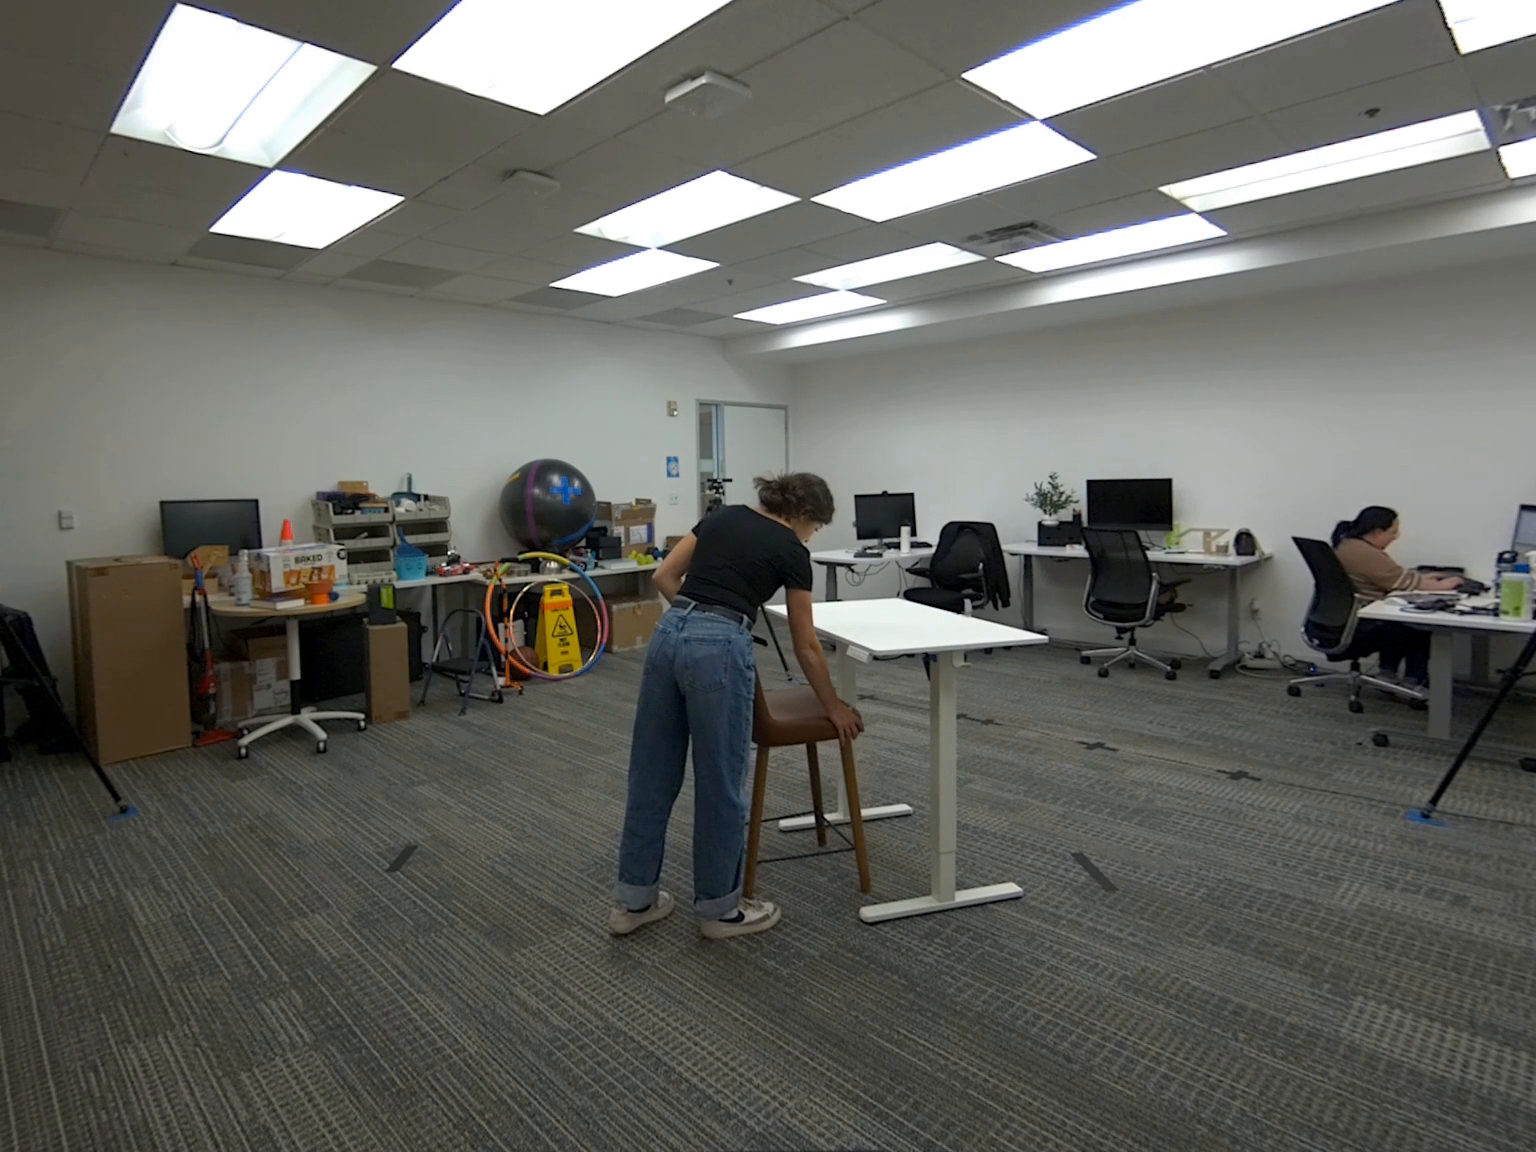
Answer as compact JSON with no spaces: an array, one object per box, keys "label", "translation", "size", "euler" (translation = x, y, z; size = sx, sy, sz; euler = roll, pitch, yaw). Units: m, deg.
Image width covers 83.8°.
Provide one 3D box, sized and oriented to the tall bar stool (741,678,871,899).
[{"label":"tall bar stool","translation":[0.057,0.624,2.983],"size":[0.461,0.886,0.465],"euler":[-5,5,-17]}]
